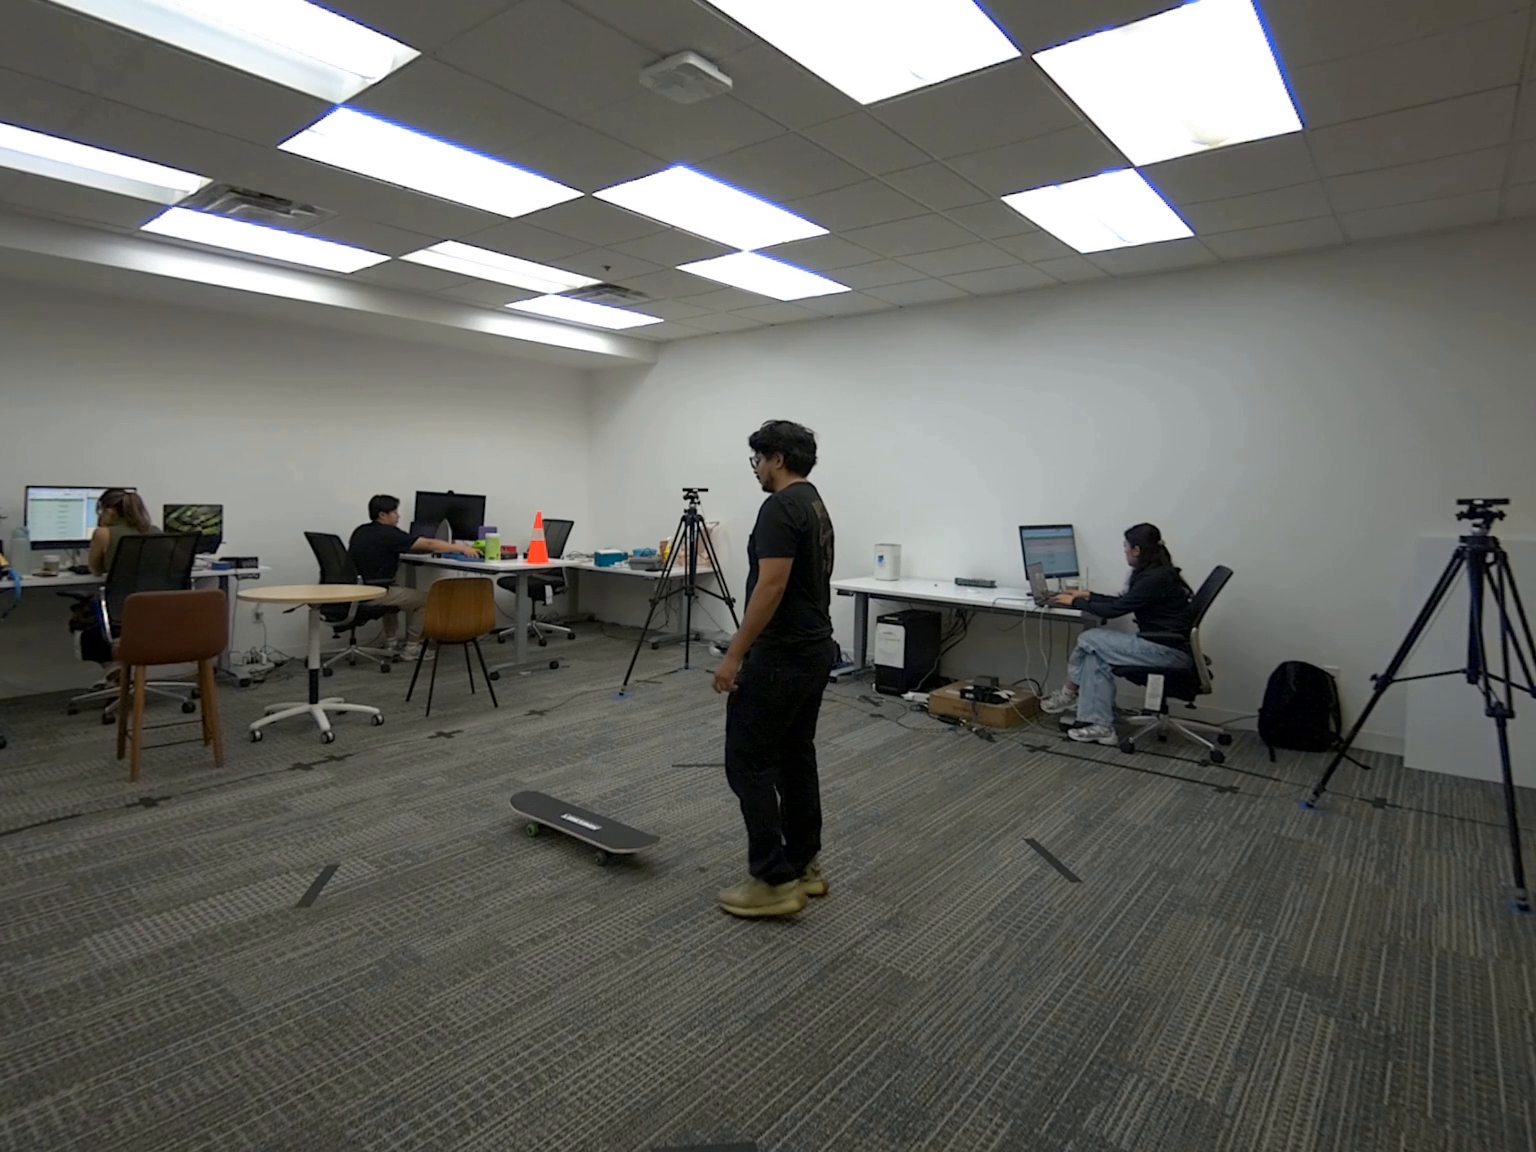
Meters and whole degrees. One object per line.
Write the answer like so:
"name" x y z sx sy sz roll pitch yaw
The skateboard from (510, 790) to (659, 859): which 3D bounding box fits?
"skateboard" -0.740 0.983 3.308 0.812 0.110 0.188 5 6 38
